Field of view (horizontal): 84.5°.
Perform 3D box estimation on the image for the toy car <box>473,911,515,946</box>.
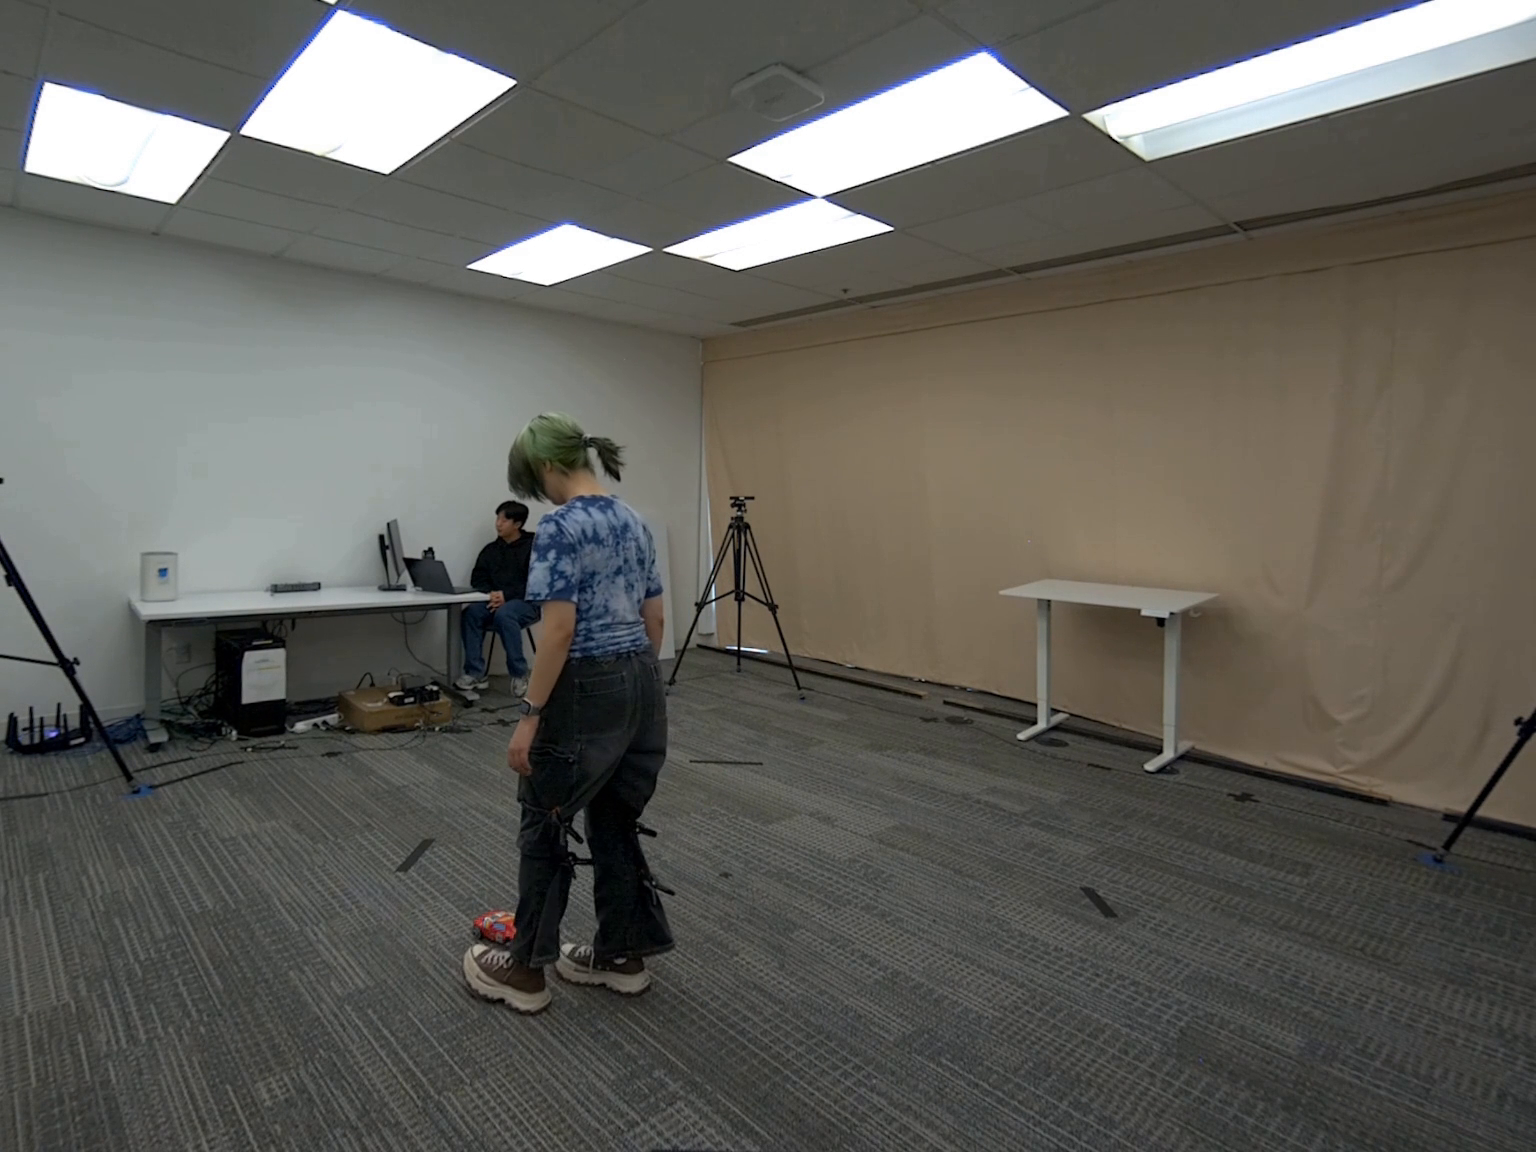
[{"bbox_3d":[-0.805,1.108,2.608,0.259,0.083,0.127,-7,-2,33],"label":"toy car"}]
